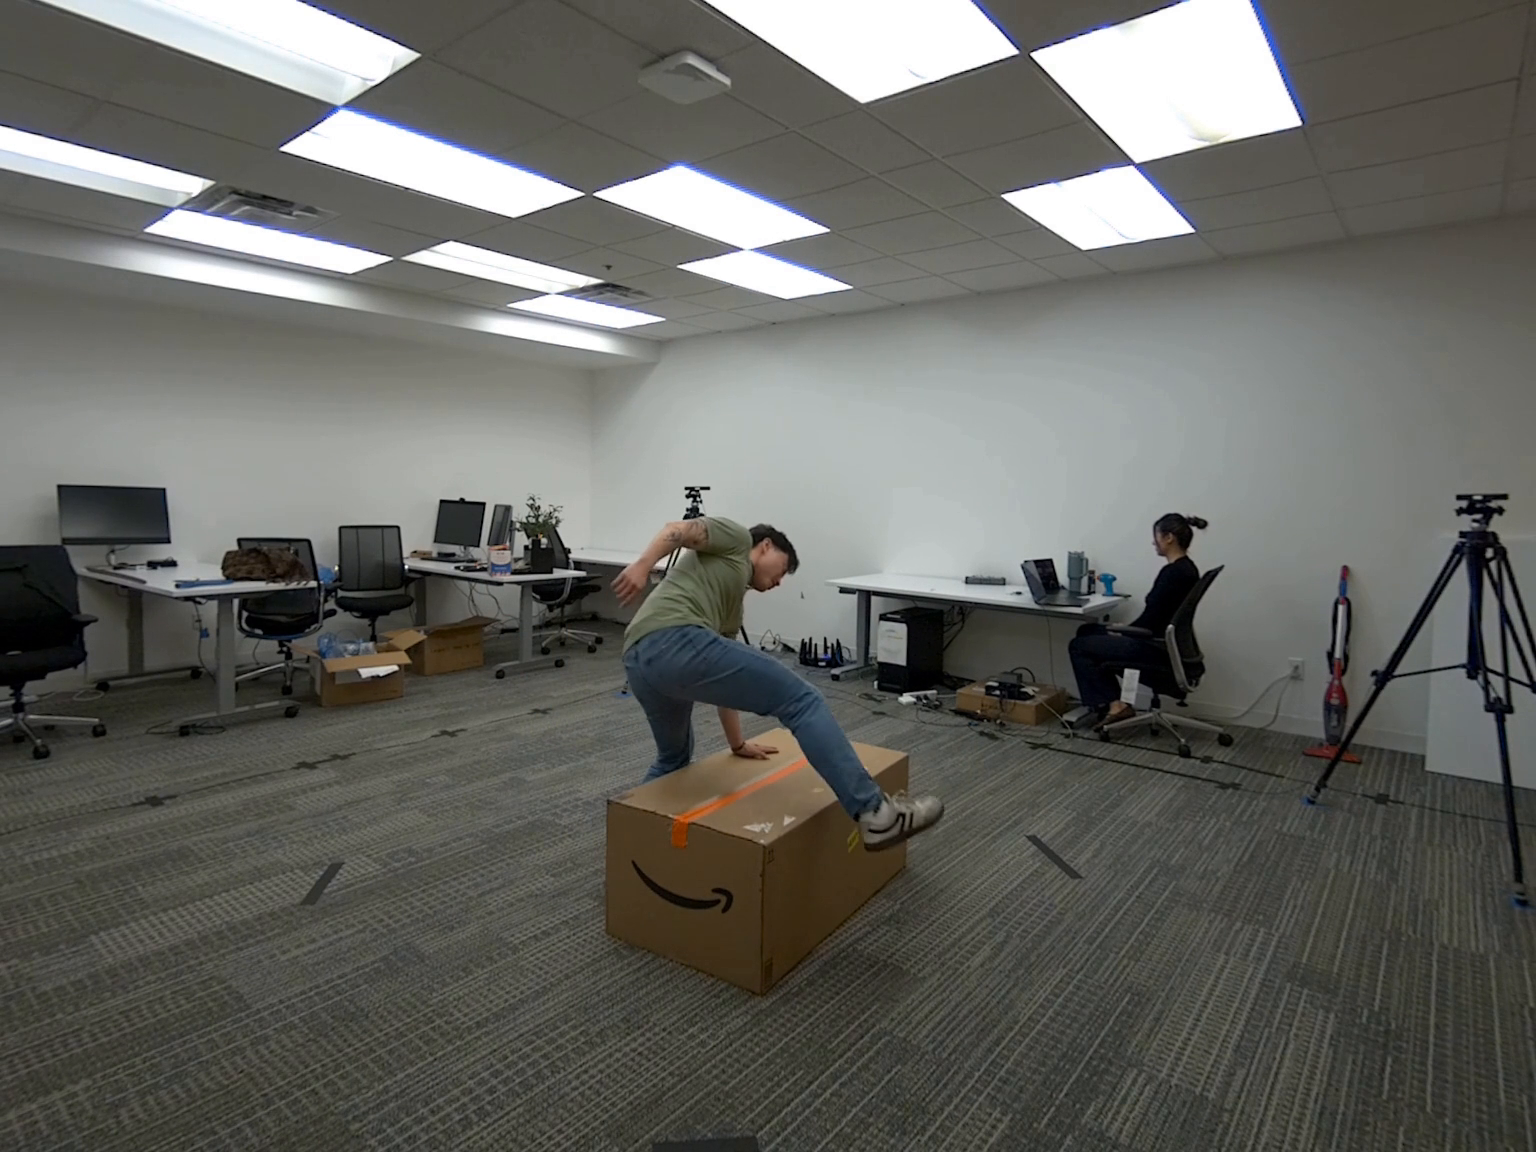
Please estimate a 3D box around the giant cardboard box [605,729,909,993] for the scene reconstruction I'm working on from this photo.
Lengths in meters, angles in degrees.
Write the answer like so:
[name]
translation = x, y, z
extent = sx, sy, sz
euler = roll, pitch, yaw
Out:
[giant cardboard box]
translation = 0.000, 0.879, 2.886
extent = 0.595, 0.425, 0.998
euler = 4, 6, 32
